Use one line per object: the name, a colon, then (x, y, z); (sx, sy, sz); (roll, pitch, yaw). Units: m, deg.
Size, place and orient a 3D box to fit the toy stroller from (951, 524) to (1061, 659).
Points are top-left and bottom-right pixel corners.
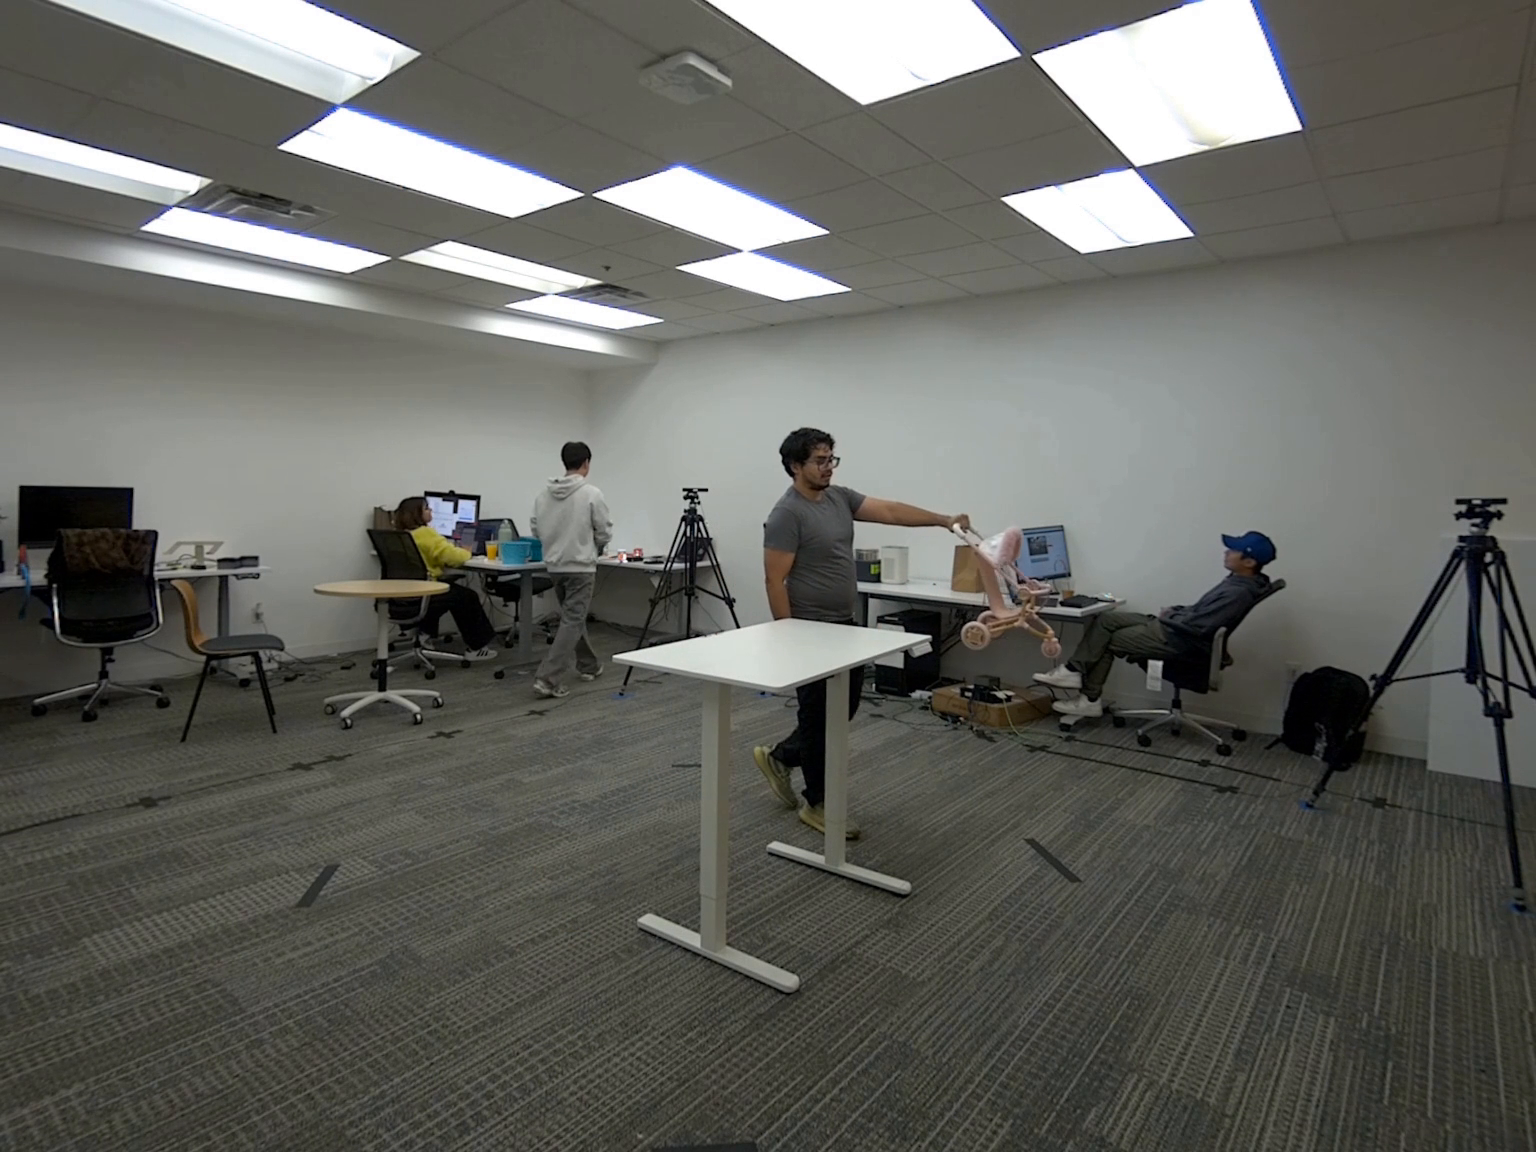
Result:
toy stroller: (0.901, 0.046, 3.228); (0.350, 0.534, 0.275); (-5, 3, 32)
